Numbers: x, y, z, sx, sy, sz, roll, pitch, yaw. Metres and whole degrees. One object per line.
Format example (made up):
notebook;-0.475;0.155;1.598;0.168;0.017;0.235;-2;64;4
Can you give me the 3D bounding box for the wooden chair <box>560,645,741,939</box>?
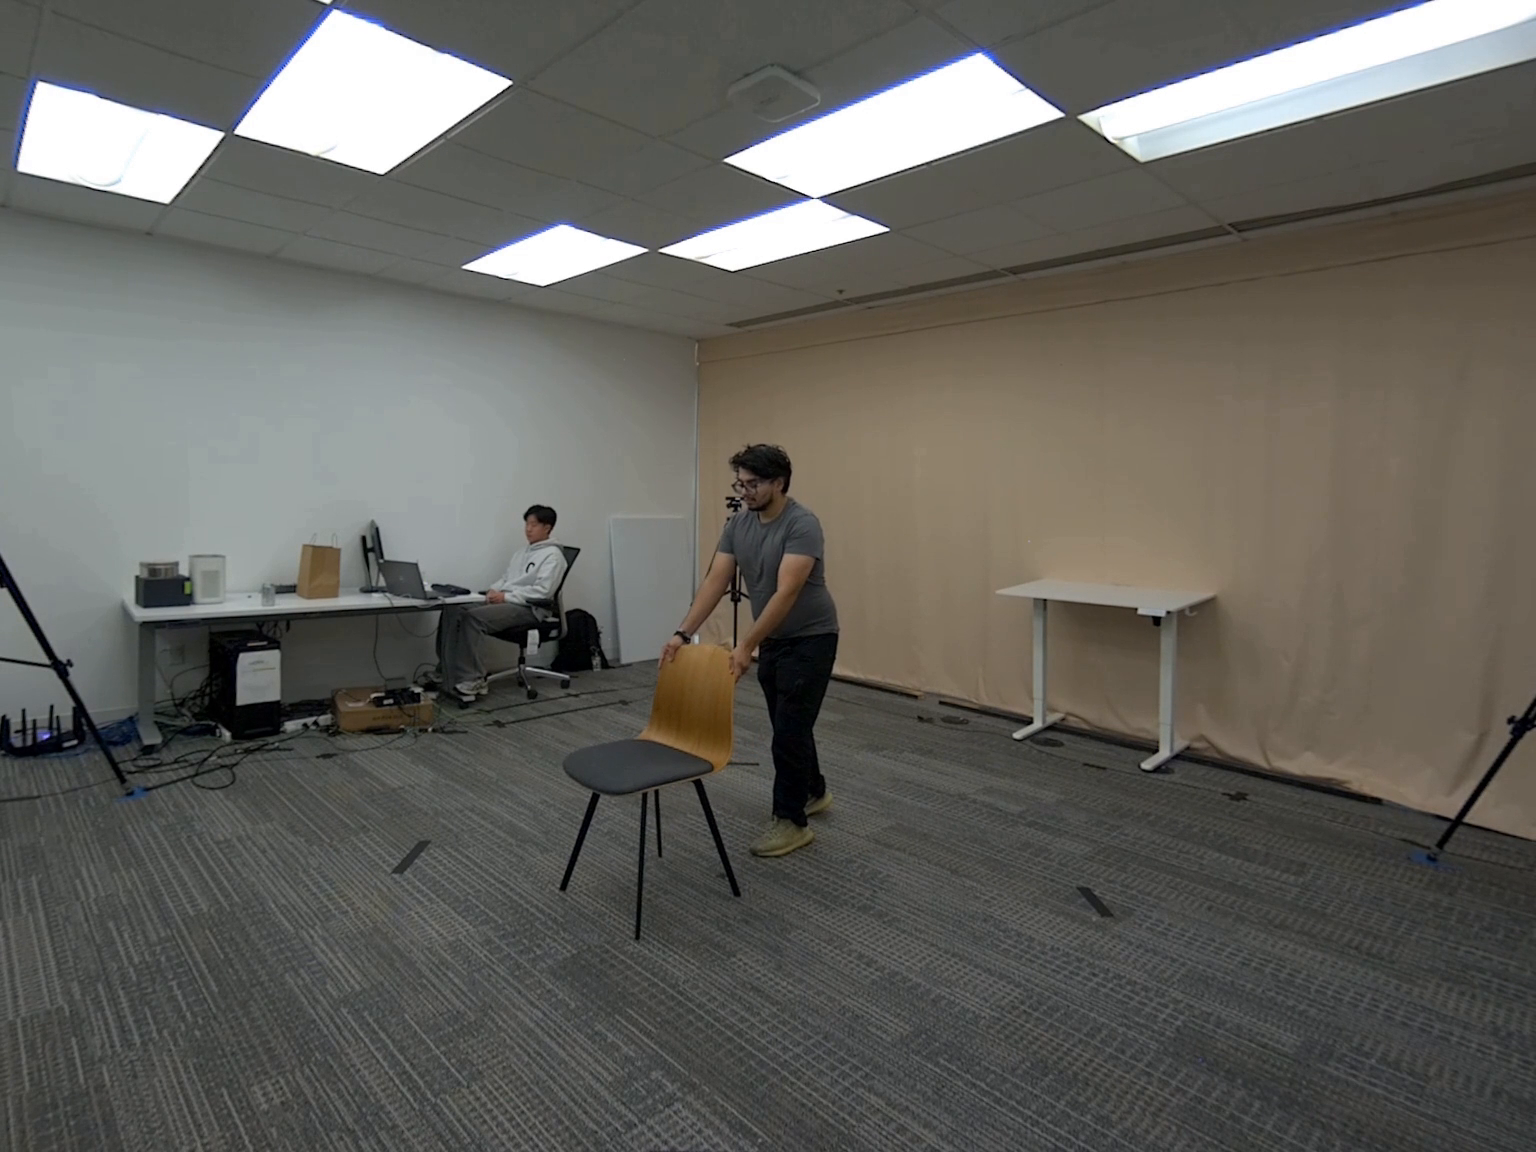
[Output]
wooden chair;-0.411;0.688;2.917;0.510;0.877;0.490;5;0;-44
